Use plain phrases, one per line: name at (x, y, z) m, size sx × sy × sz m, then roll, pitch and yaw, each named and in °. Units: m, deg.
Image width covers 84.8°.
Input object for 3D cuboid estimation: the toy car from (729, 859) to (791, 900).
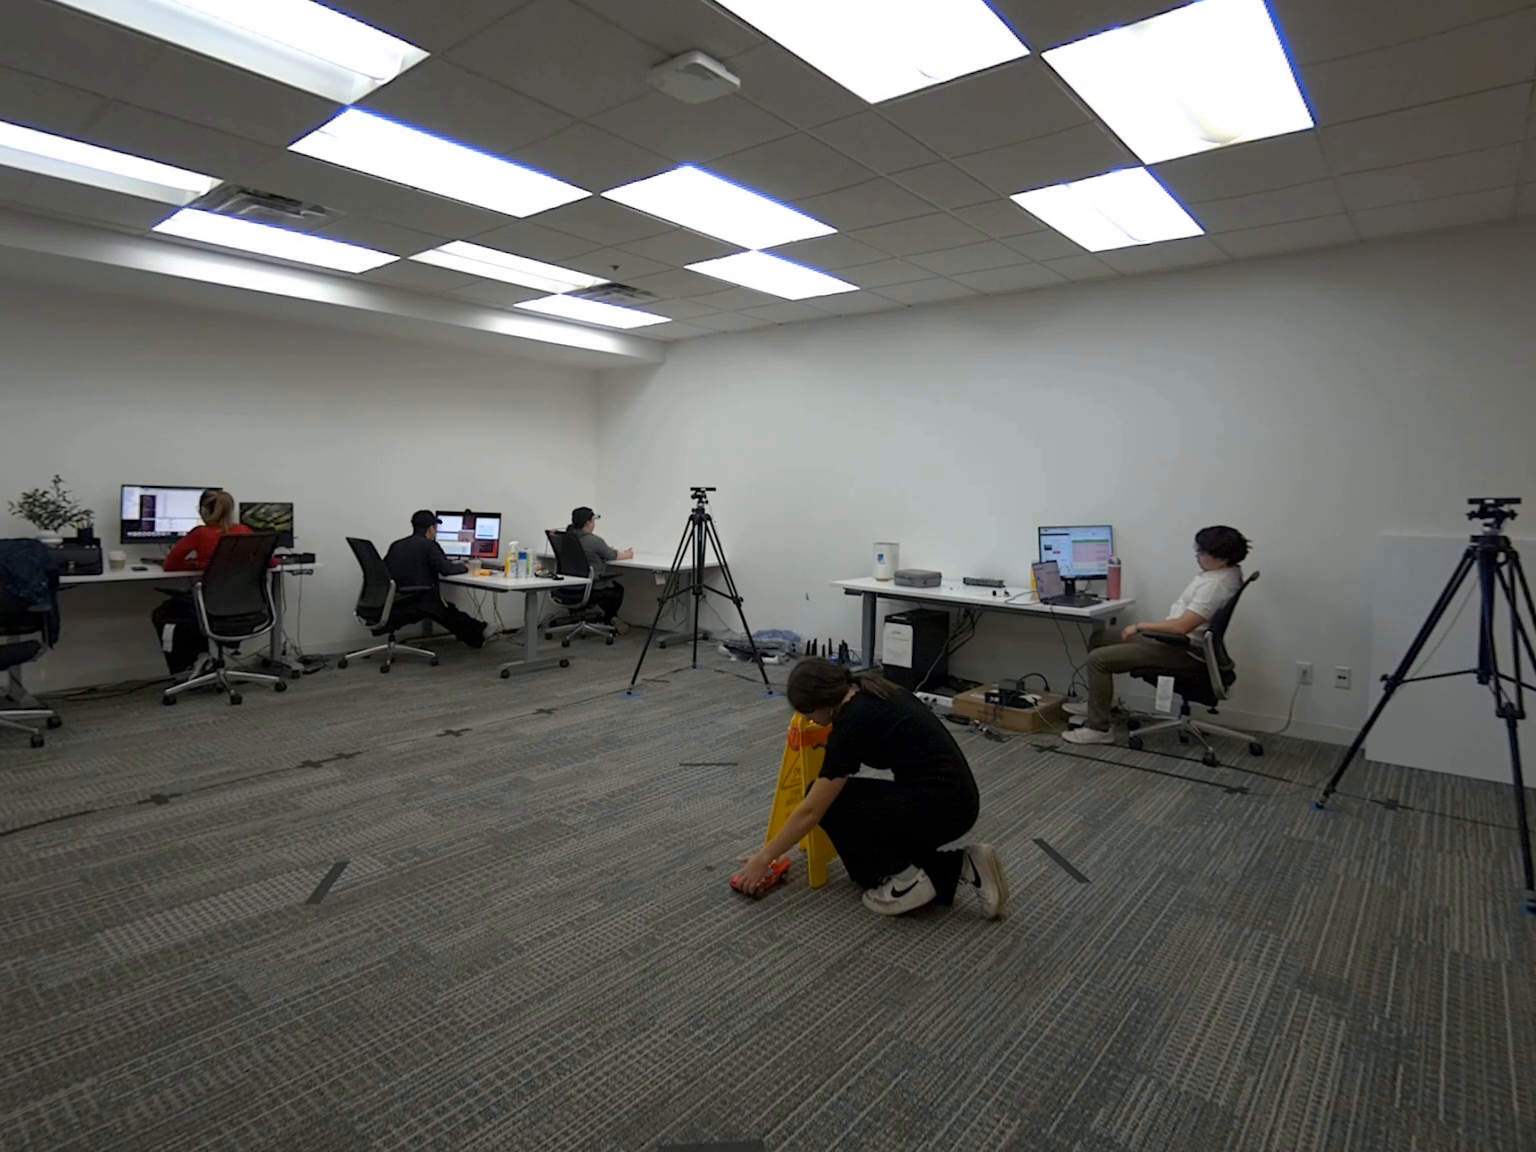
toy car at (-0.024, 1.052, 3.000) m, size 0.134 × 0.082 × 0.250 m, roll 5°, pitch 18°, yaw 36°
